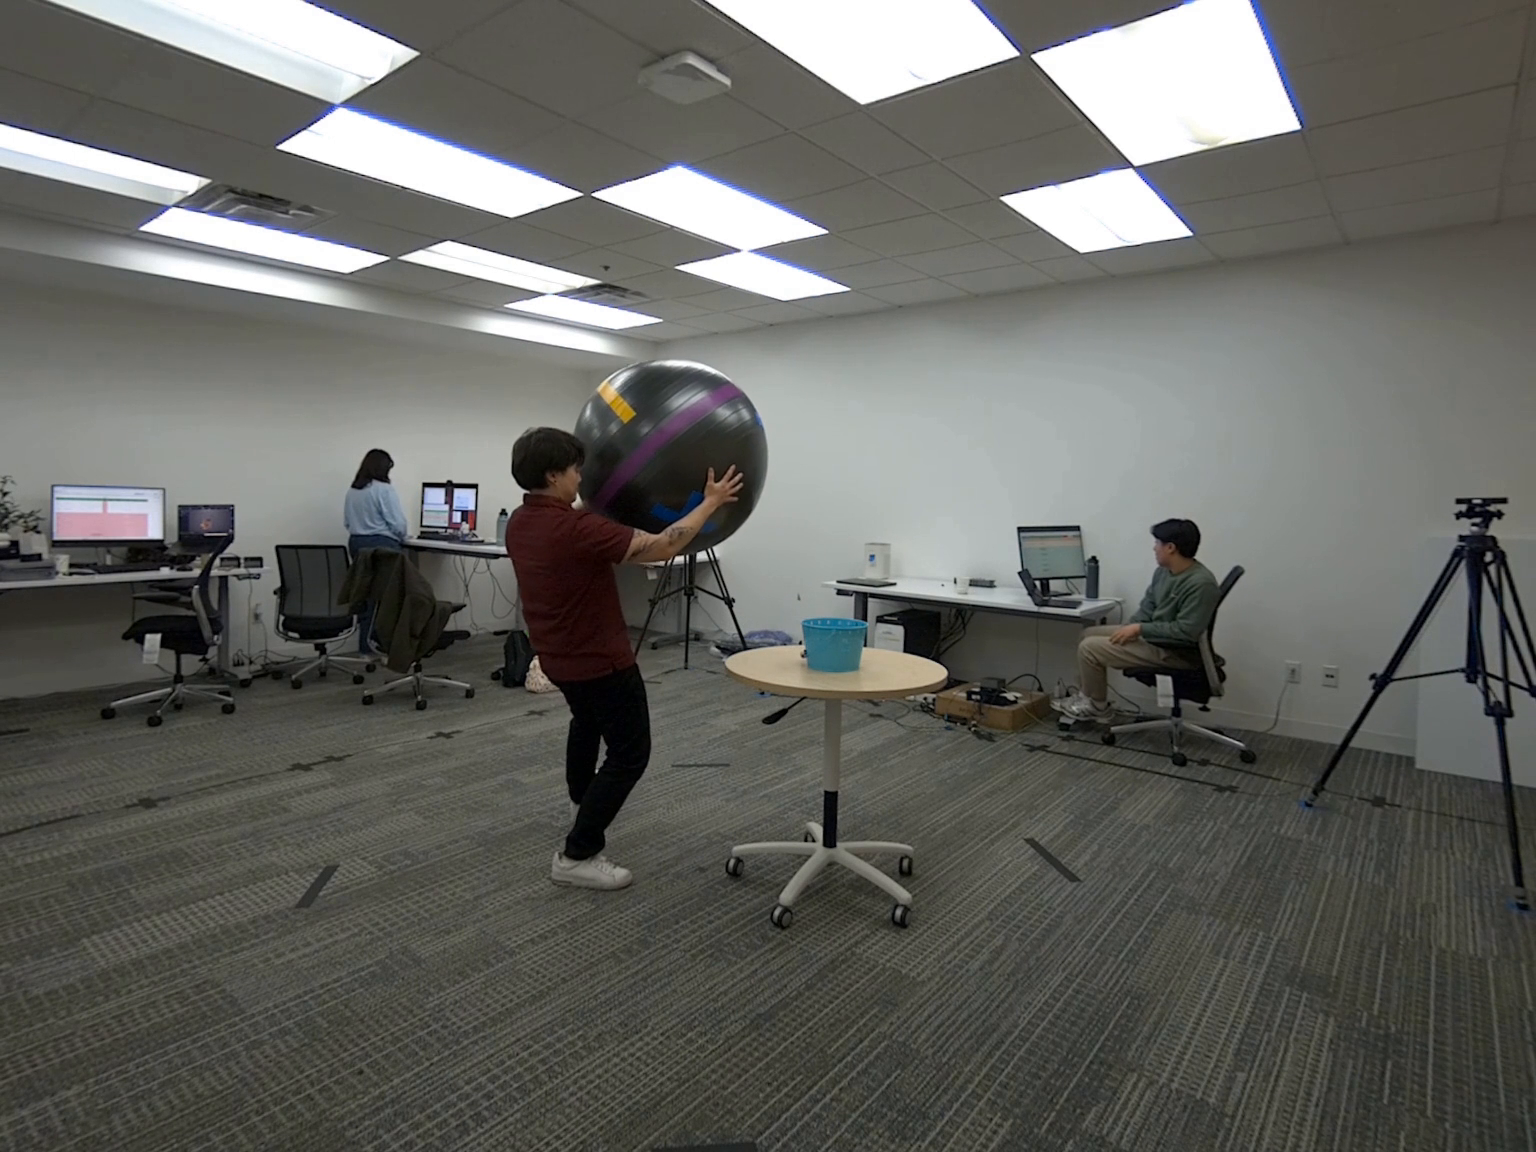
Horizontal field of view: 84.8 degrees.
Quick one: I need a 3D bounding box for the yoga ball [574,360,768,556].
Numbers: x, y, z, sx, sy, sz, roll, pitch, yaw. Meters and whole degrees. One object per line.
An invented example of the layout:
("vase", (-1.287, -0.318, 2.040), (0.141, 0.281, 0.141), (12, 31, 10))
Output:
("yoga ball", (-0.391, -0.451, 3.285), (0.757, 0.756, 0.761), (1, 4, -2))
